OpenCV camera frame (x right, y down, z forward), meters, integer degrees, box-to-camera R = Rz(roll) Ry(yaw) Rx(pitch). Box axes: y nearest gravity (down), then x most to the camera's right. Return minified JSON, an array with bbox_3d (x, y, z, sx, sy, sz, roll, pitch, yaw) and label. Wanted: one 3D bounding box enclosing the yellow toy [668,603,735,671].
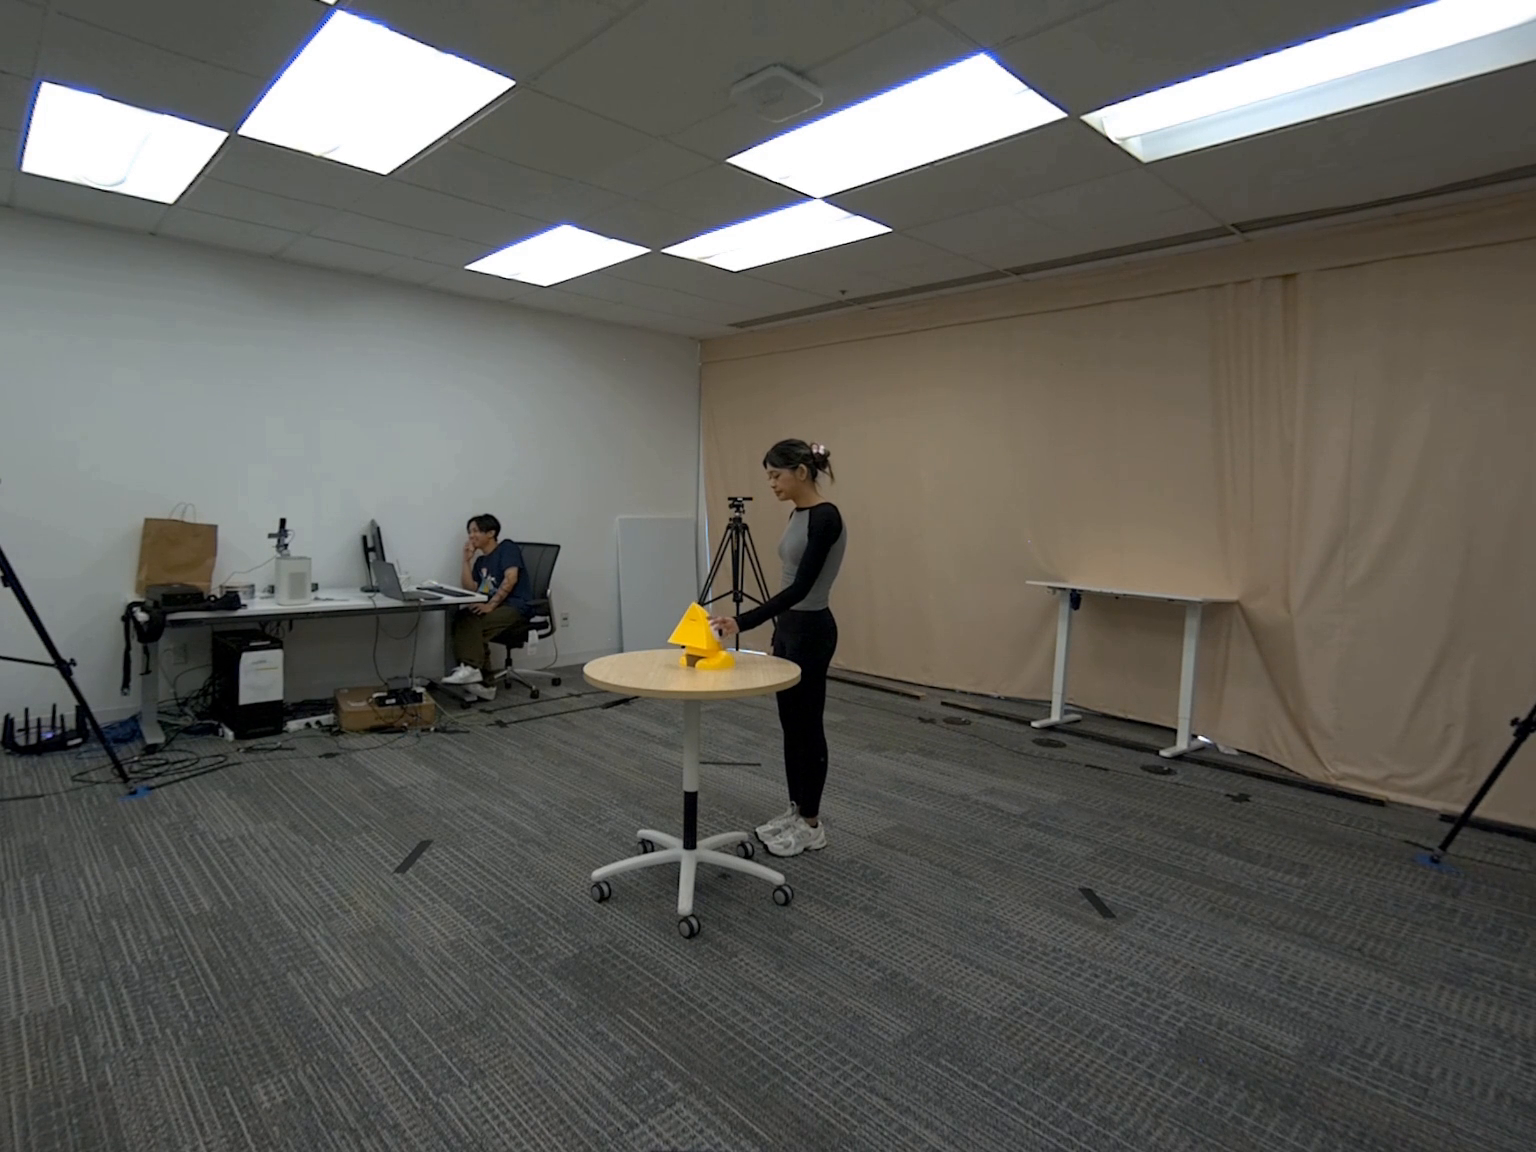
[{"bbox_3d":[-0.235,0.208,3.031,0.210,0.230,0.188,4,4,44],"label":"yellow toy"}]
